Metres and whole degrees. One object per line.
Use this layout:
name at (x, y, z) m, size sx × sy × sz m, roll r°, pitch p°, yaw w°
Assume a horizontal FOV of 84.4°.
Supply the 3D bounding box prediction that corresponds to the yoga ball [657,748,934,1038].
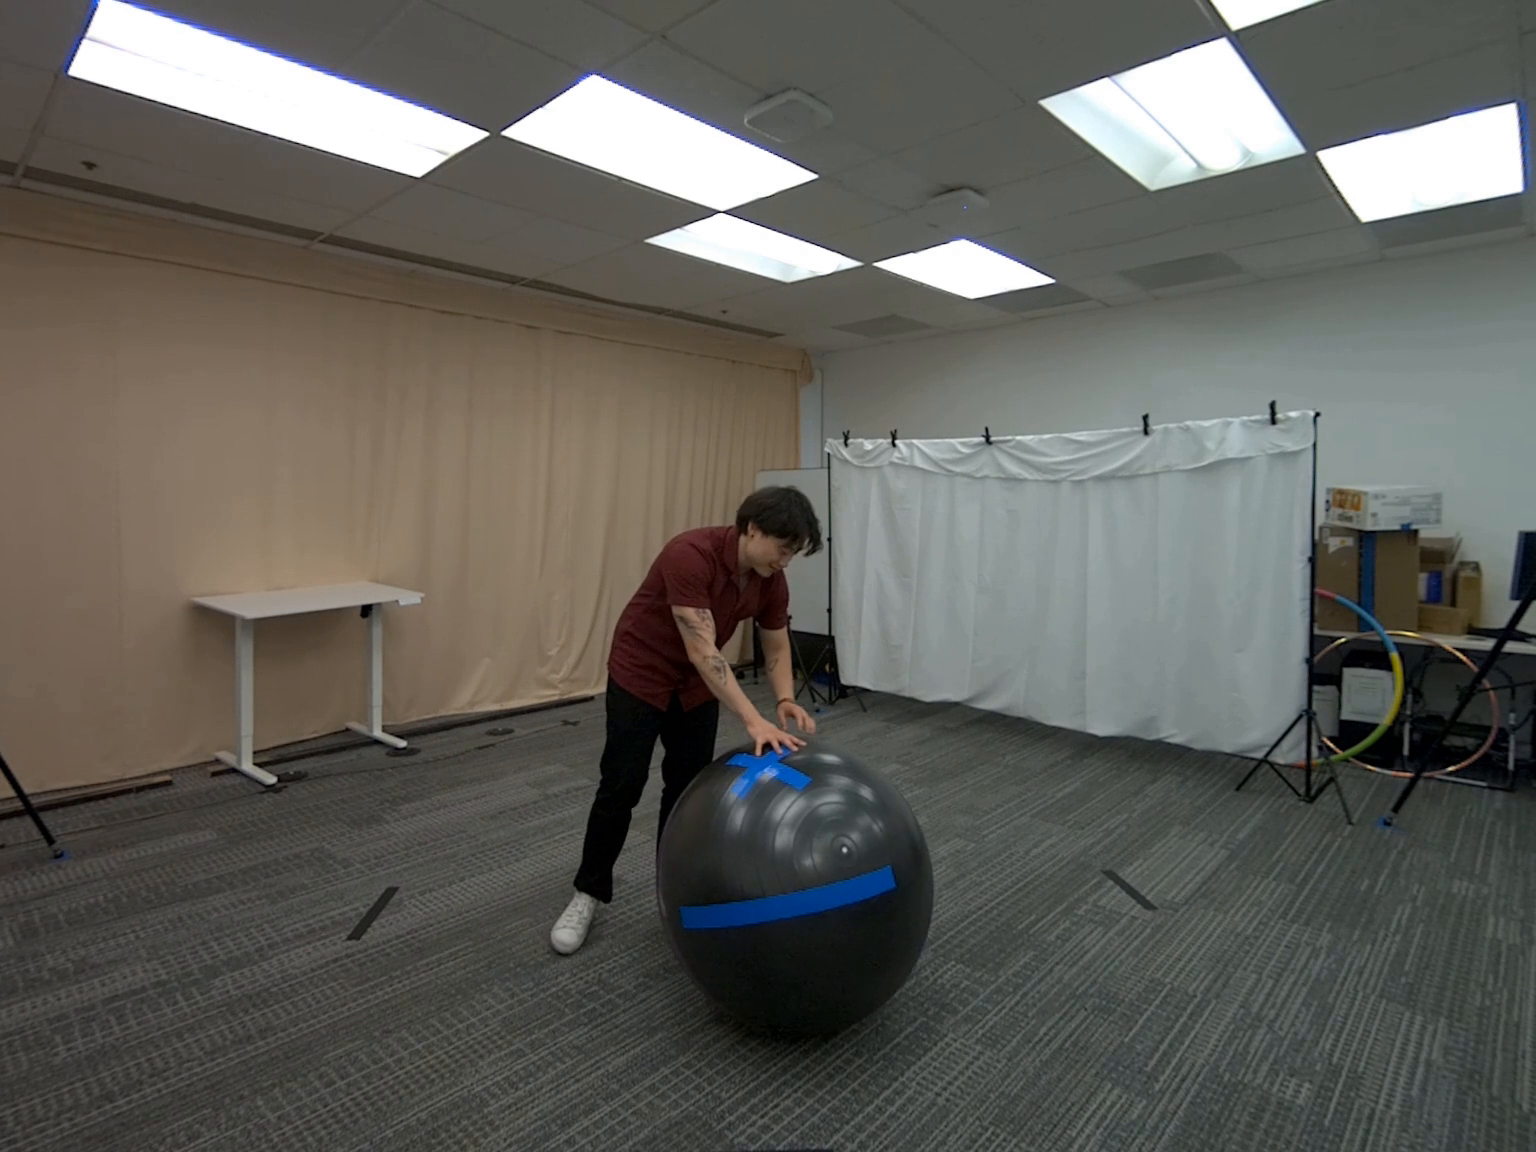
yoga ball at (0.079, 0.840, 2.320) m, size 0.757 × 0.756 × 0.760 m, roll 0°, pitch 4°, yaw -2°
